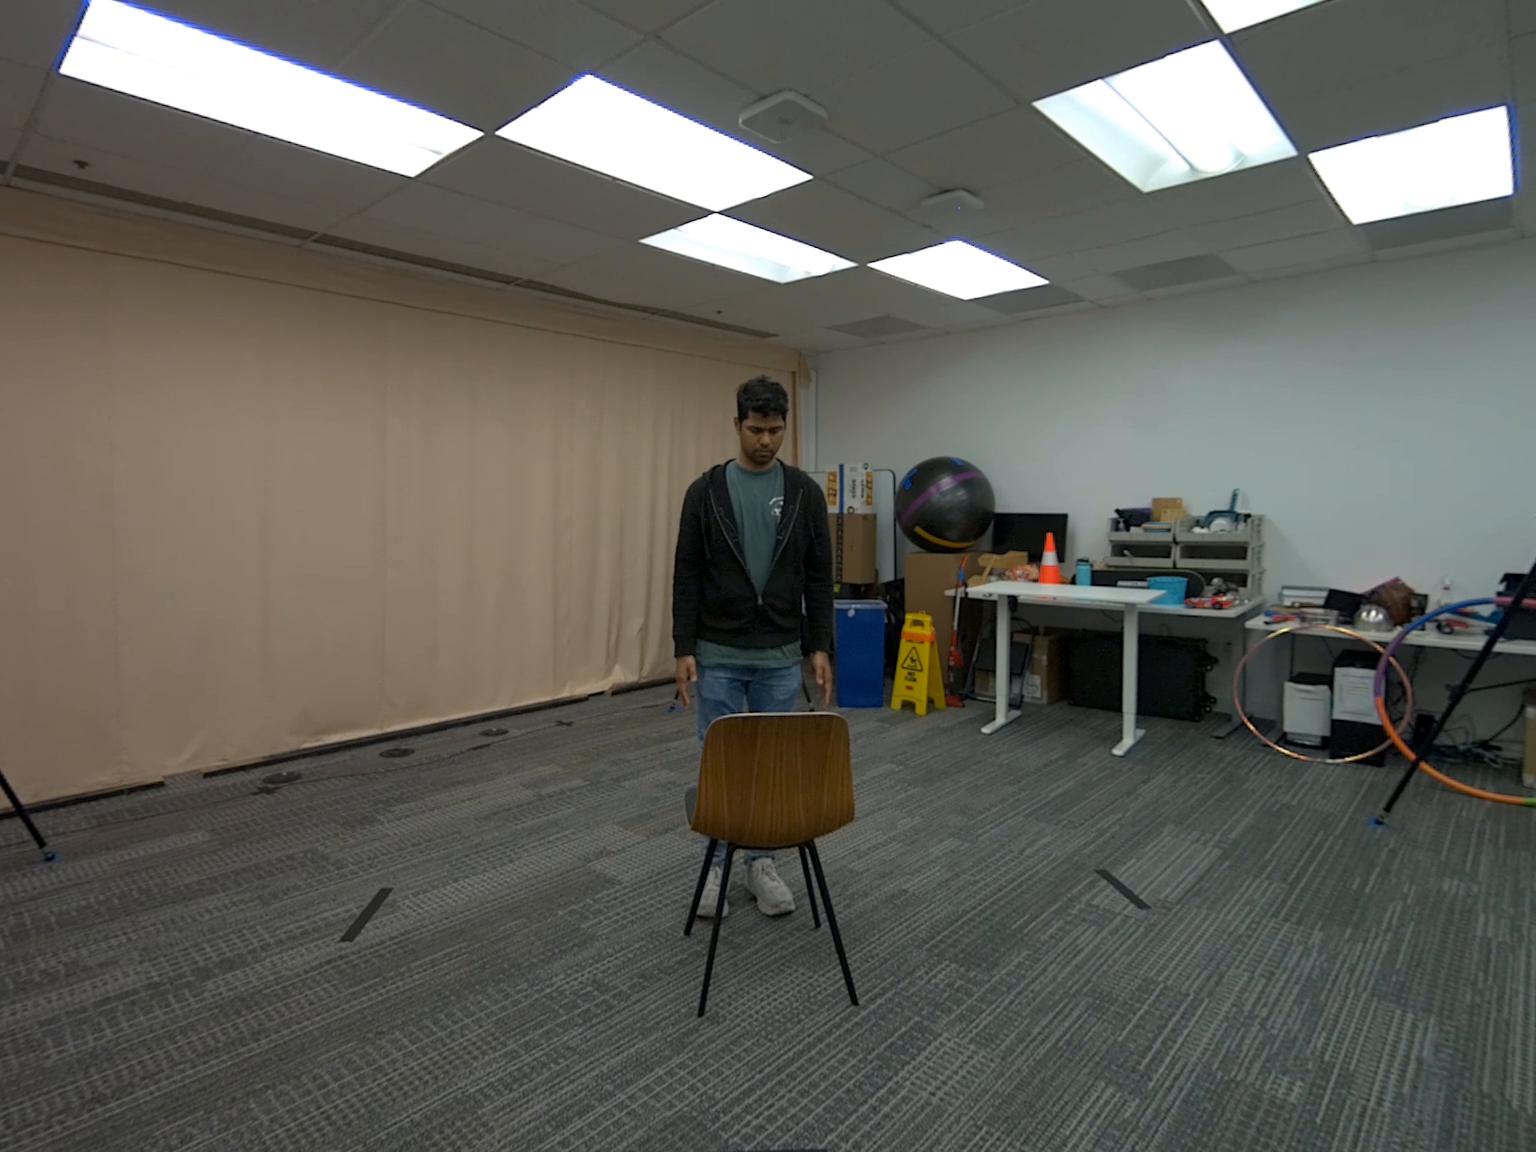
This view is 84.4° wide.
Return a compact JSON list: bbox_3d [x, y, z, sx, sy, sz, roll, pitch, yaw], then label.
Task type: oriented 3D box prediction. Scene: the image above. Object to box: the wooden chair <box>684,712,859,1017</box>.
[{"bbox_3d":[-0.009,0.749,2.525,0.474,0.873,0.530,-1,8,-9],"label":"wooden chair"}]
